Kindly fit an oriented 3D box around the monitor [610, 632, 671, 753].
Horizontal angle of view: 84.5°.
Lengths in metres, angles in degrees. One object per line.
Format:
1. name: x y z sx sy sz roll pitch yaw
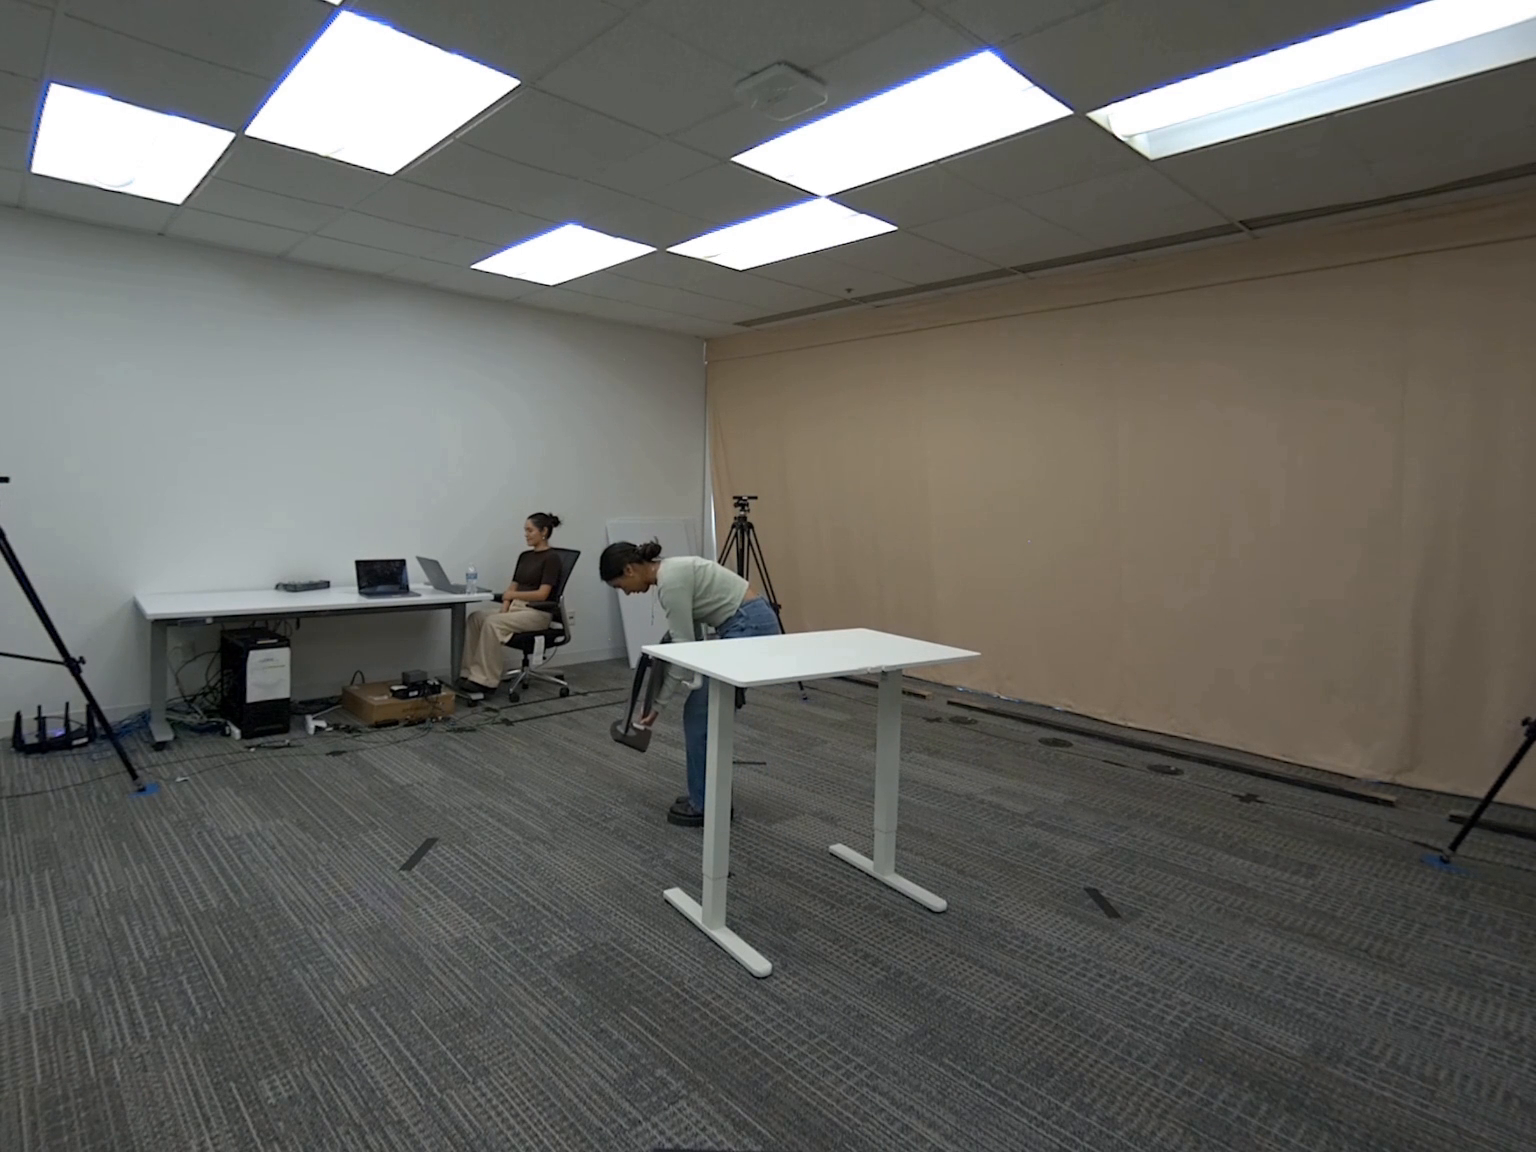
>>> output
1. monitor: -0.509 0.456 3.608 0.186 0.521 0.542 22 6 -5
